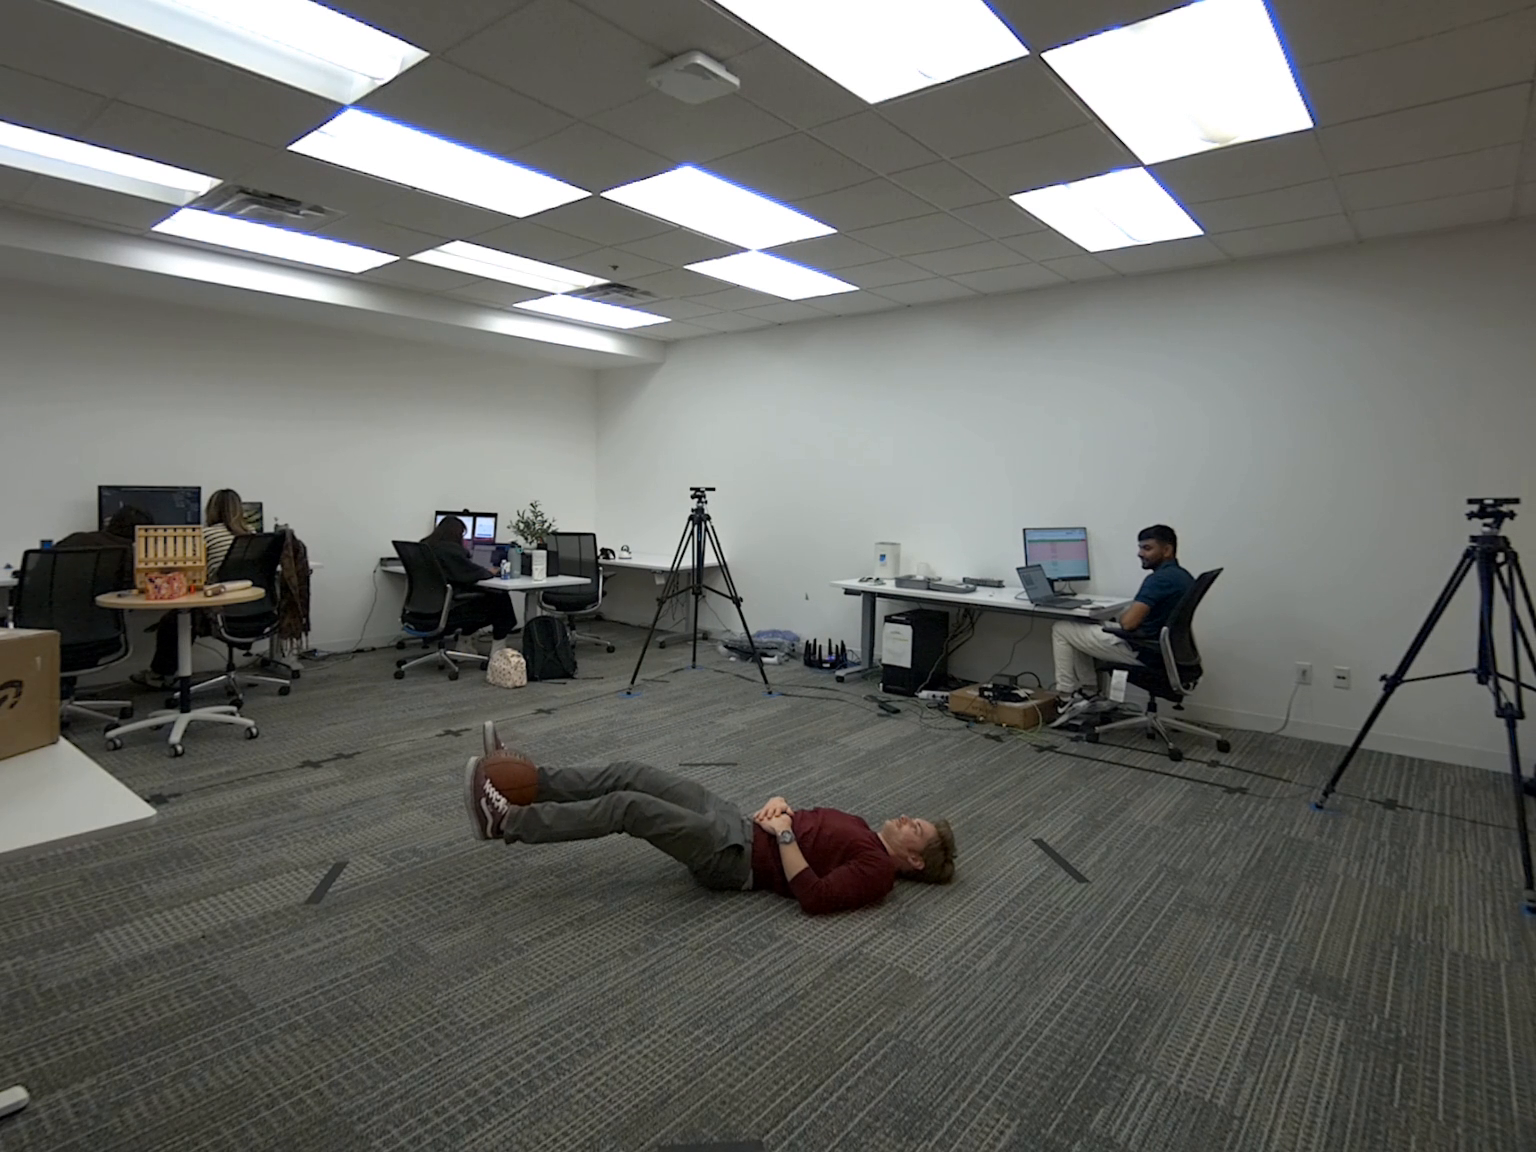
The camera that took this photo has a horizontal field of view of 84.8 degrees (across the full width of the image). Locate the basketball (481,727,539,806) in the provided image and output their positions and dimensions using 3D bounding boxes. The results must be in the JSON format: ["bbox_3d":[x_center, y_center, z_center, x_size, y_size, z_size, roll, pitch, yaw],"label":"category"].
[{"bbox_3d":[-0.938,0.721,2.995,0.236,0.235,0.237,-3,3,-2],"label":"basketball"}]
